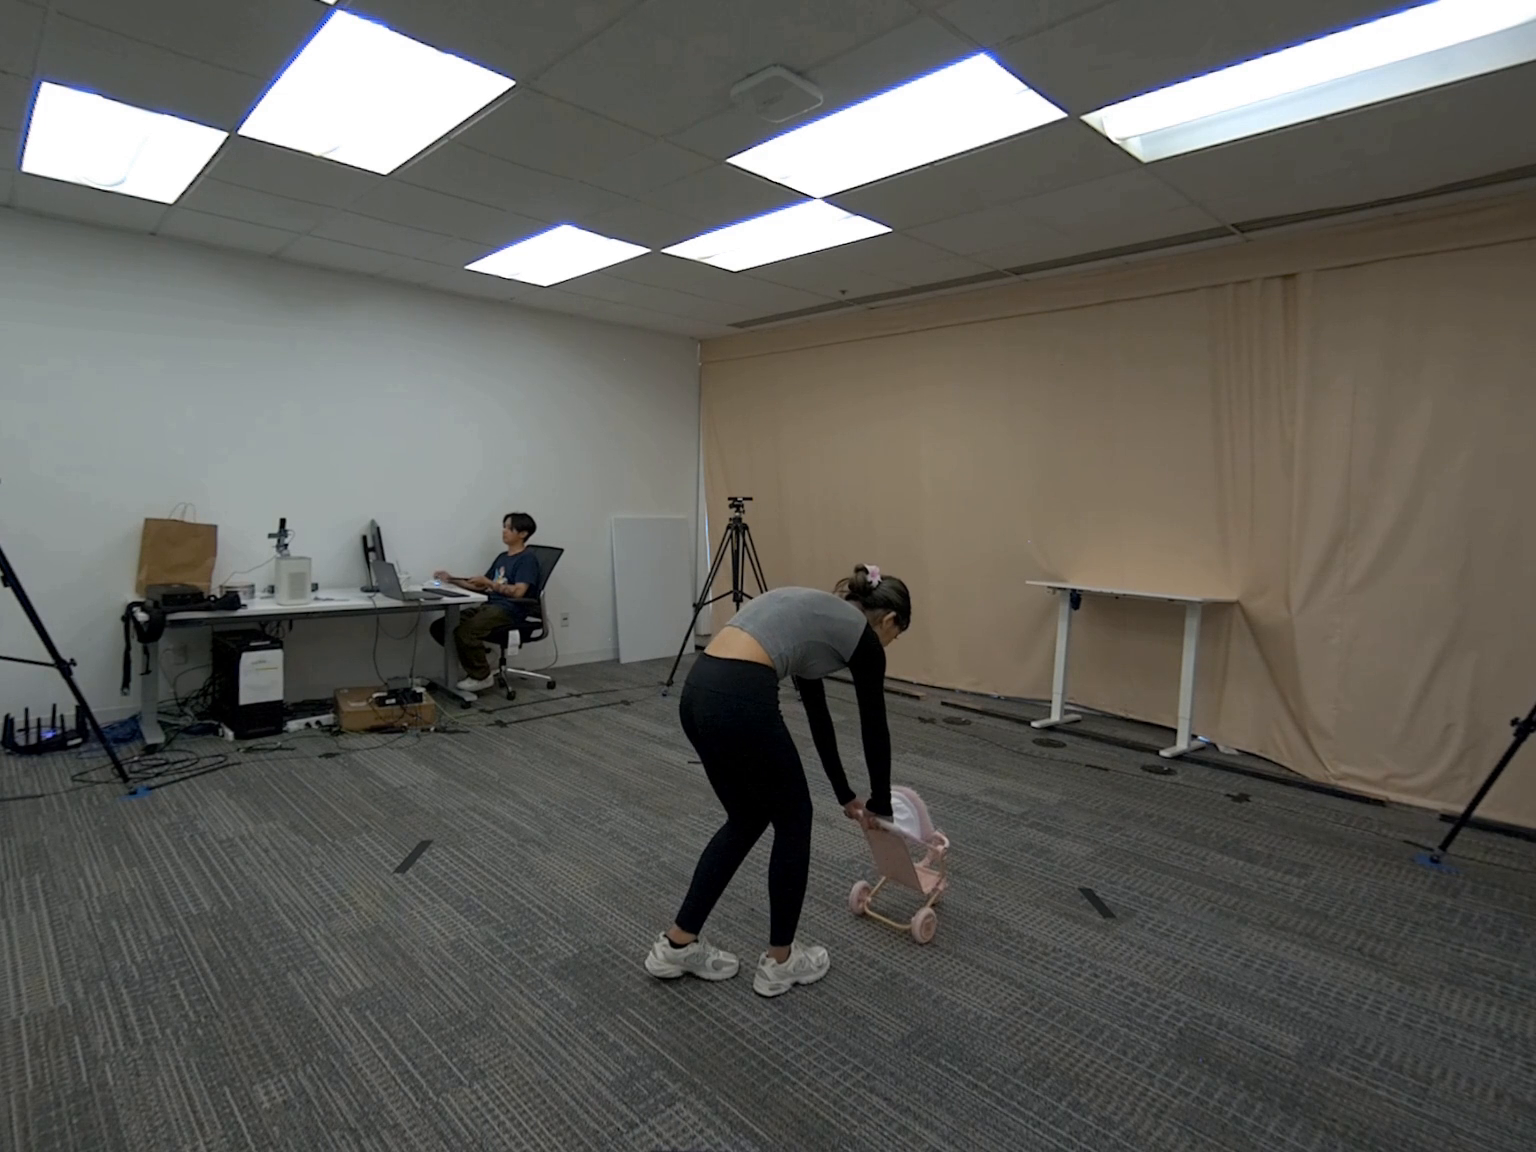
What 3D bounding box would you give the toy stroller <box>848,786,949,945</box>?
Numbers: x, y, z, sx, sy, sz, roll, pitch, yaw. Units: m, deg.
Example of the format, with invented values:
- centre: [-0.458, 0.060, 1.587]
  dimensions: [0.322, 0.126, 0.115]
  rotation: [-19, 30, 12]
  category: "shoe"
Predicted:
- centre: [0.441, 0.924, 2.776]
  dimensions: [0.337, 0.528, 0.289]
  rotation: [-22, 18, -38]
  category: "toy stroller"
